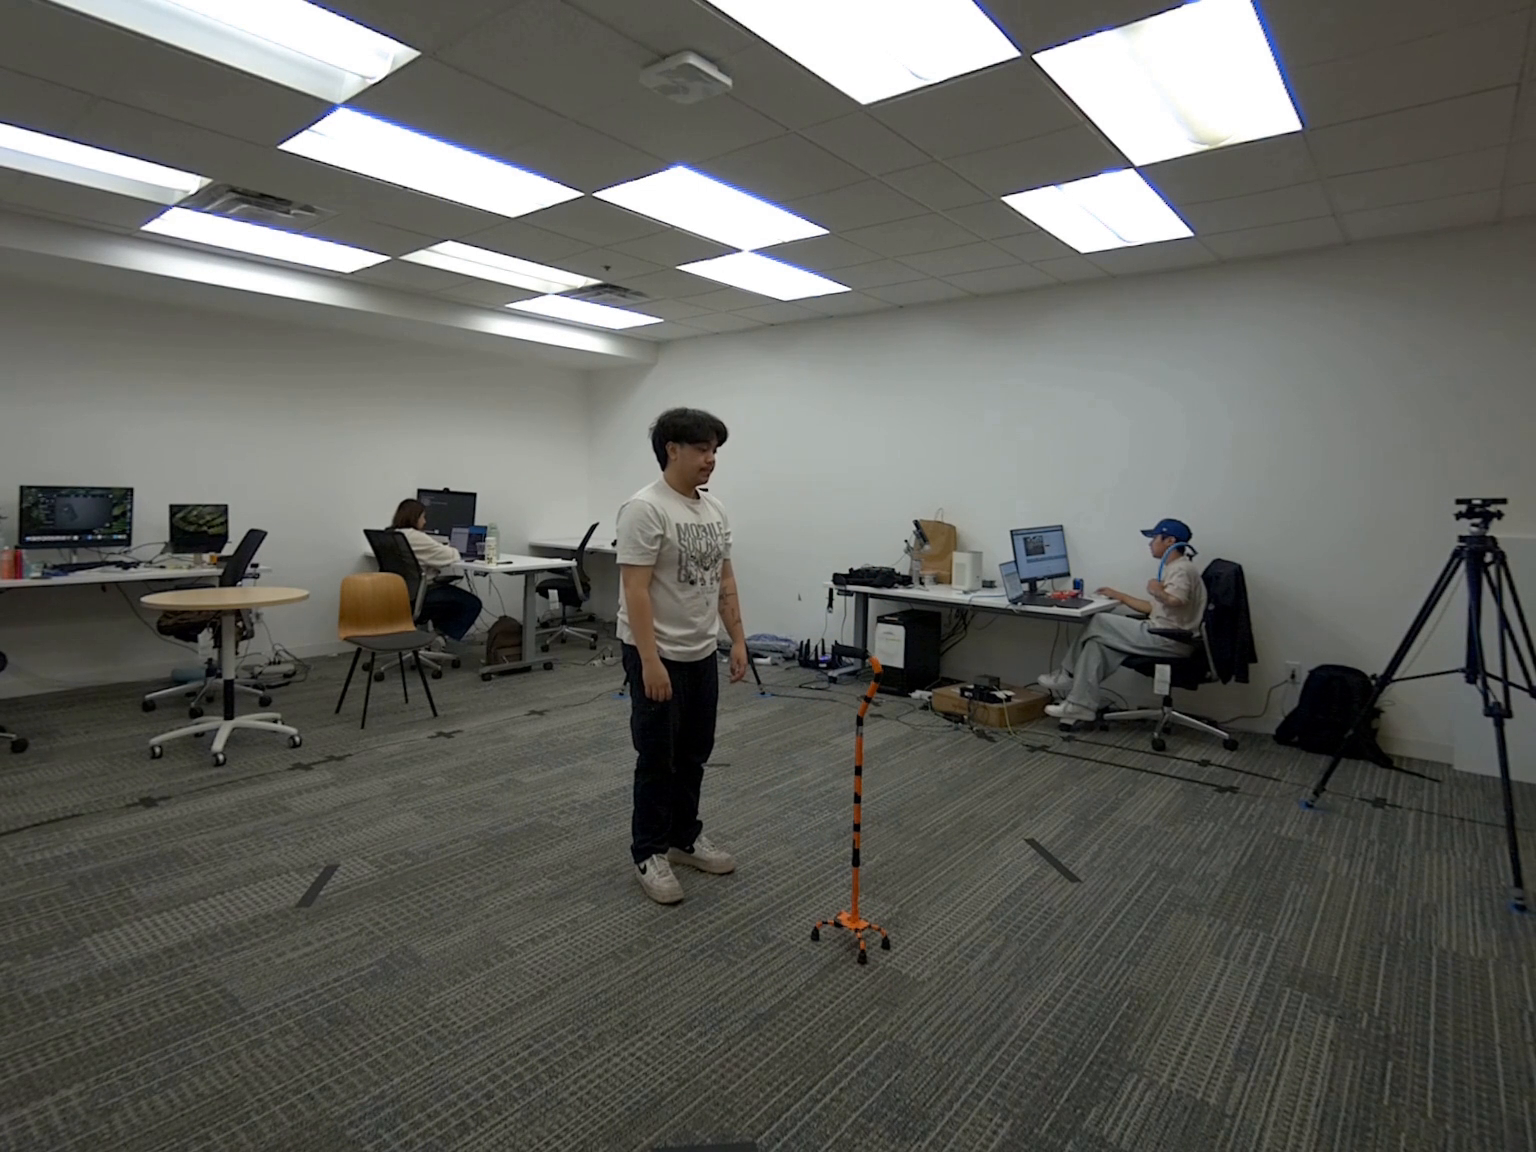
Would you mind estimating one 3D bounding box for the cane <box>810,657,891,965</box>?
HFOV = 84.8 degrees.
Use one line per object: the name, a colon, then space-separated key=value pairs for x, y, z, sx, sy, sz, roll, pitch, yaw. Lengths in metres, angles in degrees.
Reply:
cane: x=0.261 y=0.675 z=2.602 sx=0.213 sy=0.906 sz=0.147 roll=5 pitch=3 yaw=41
